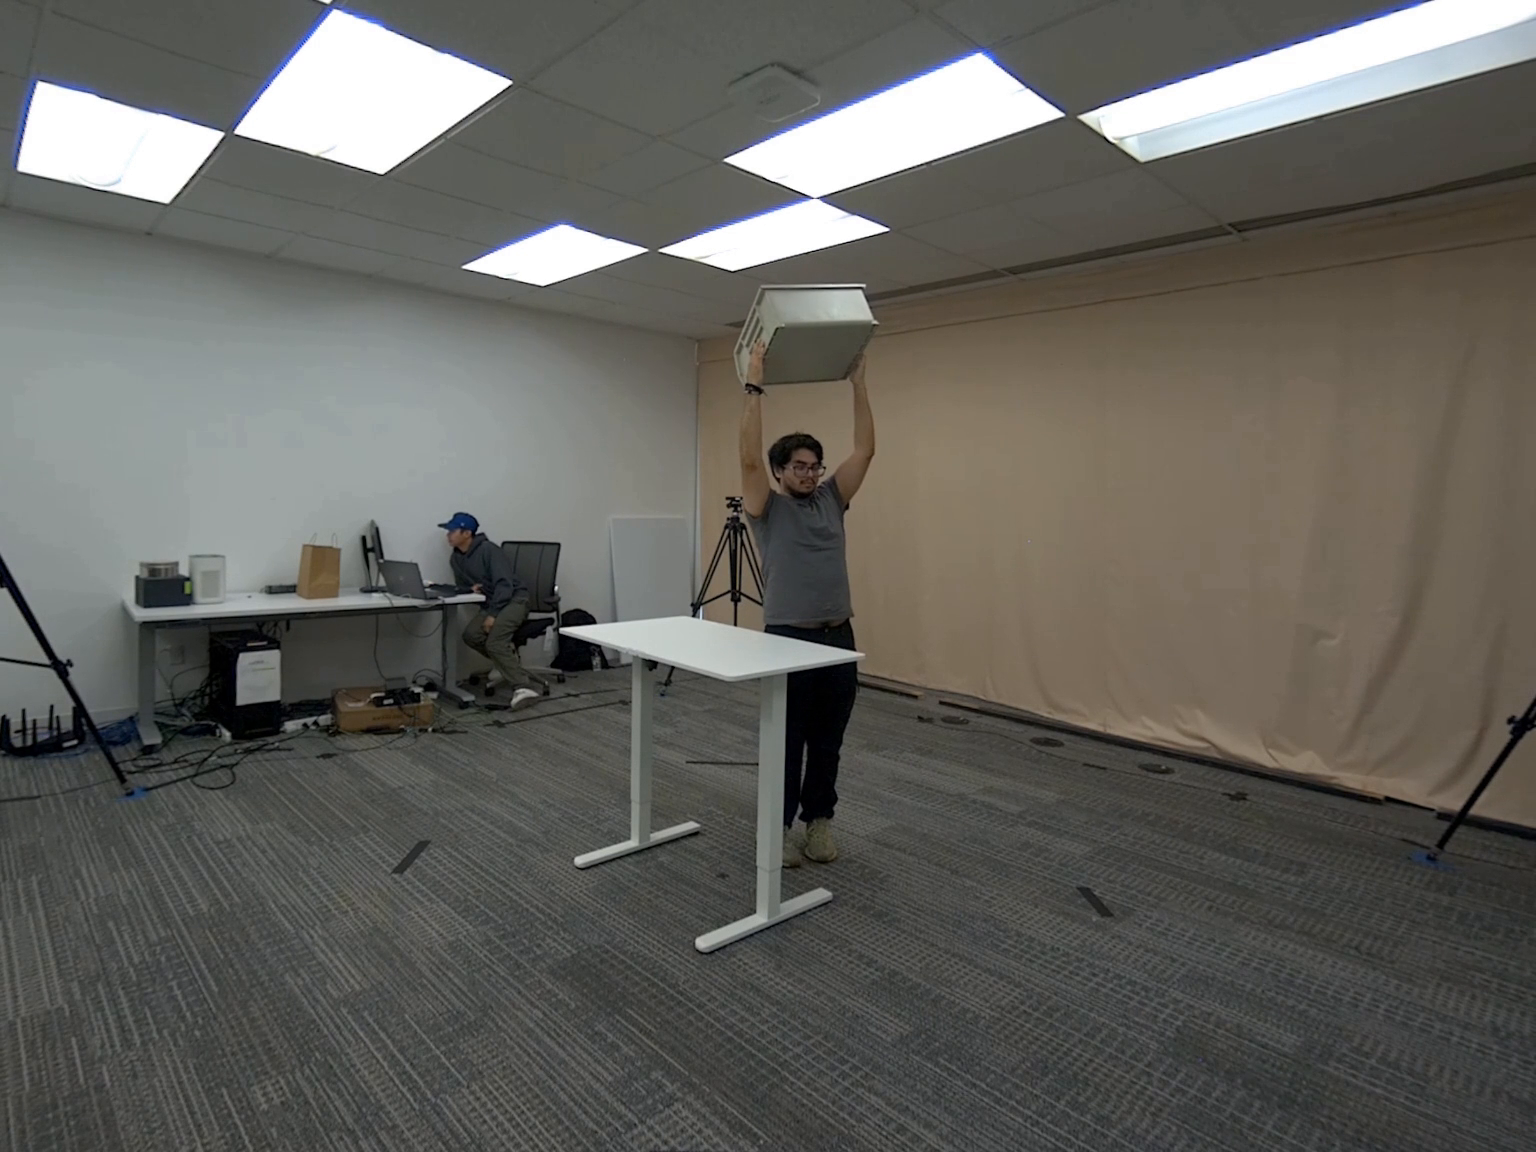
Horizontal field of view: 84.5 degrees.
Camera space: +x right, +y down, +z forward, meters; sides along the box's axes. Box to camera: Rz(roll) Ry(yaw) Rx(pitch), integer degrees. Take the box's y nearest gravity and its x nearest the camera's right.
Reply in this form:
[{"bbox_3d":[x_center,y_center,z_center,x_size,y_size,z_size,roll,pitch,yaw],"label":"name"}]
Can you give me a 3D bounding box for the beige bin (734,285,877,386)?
[{"bbox_3d":[0.129,-0.866,3.106,0.416,0.193,0.375,-8,-24,-23],"label":"beige bin"}]
